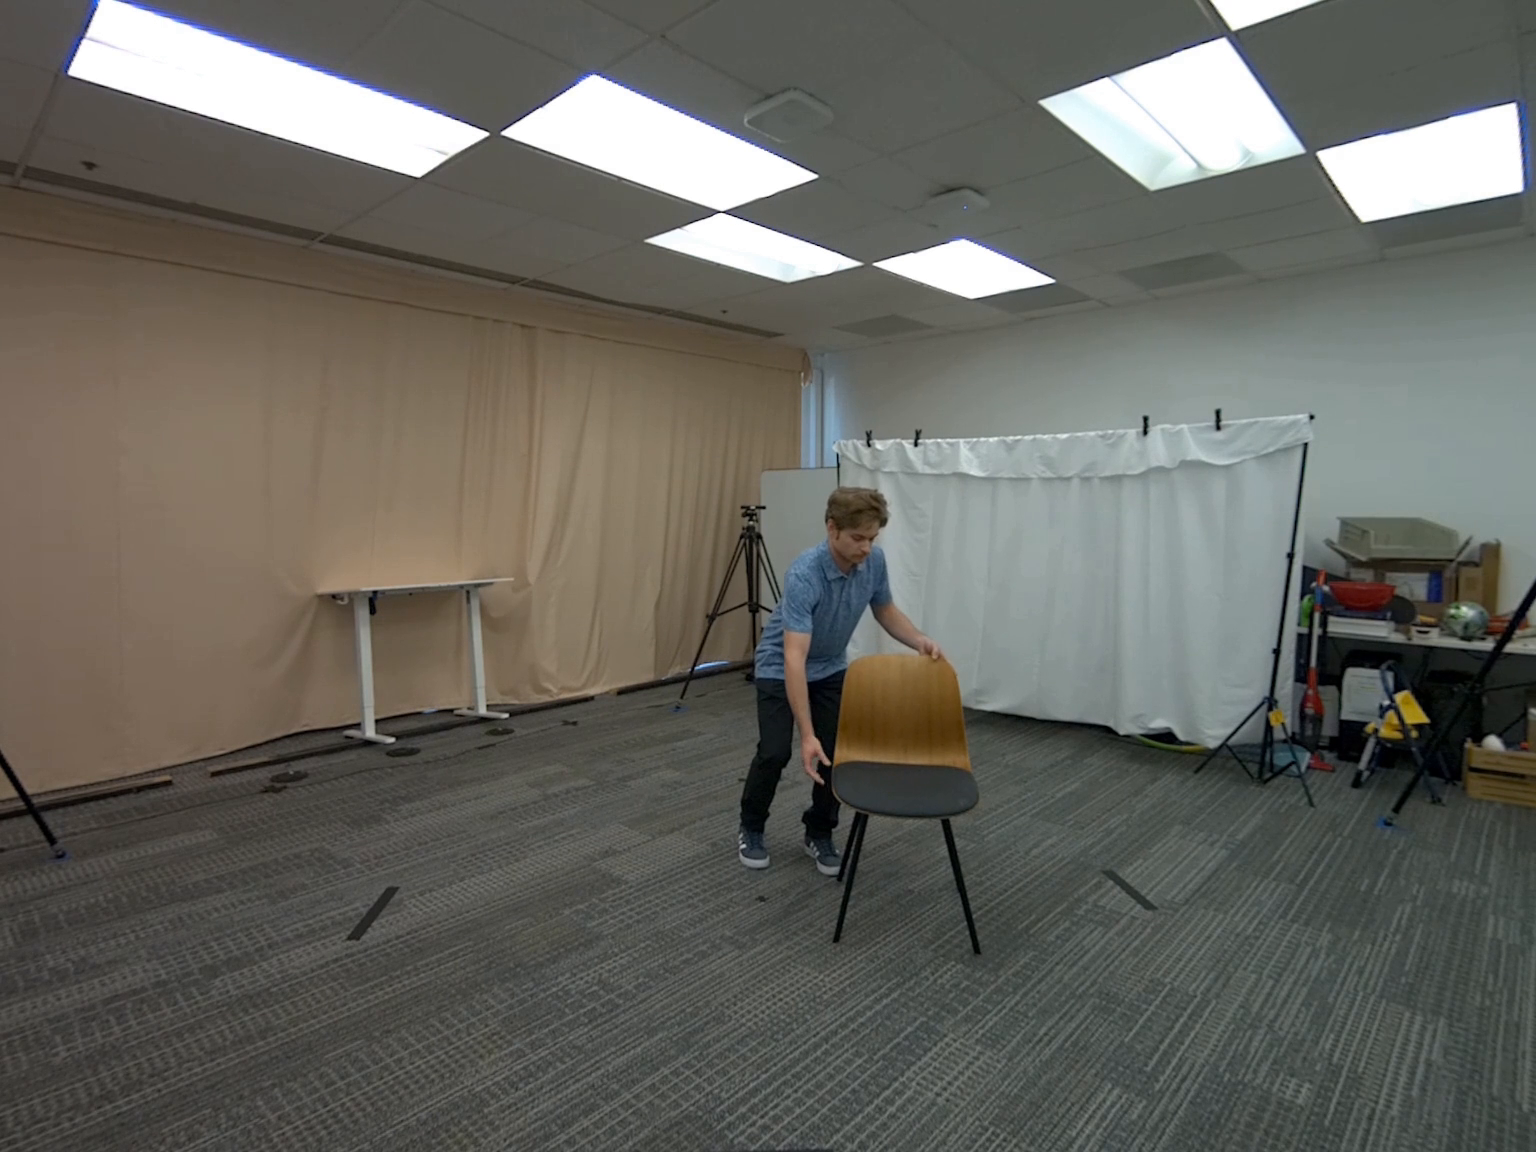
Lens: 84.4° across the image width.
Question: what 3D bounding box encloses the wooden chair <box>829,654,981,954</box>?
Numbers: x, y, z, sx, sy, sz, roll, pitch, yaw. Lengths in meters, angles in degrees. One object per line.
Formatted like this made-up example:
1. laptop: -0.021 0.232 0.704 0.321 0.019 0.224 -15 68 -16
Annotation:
1. wooden chair: 0.460 0.726 2.822 0.483 0.878 0.517 1 0 9
